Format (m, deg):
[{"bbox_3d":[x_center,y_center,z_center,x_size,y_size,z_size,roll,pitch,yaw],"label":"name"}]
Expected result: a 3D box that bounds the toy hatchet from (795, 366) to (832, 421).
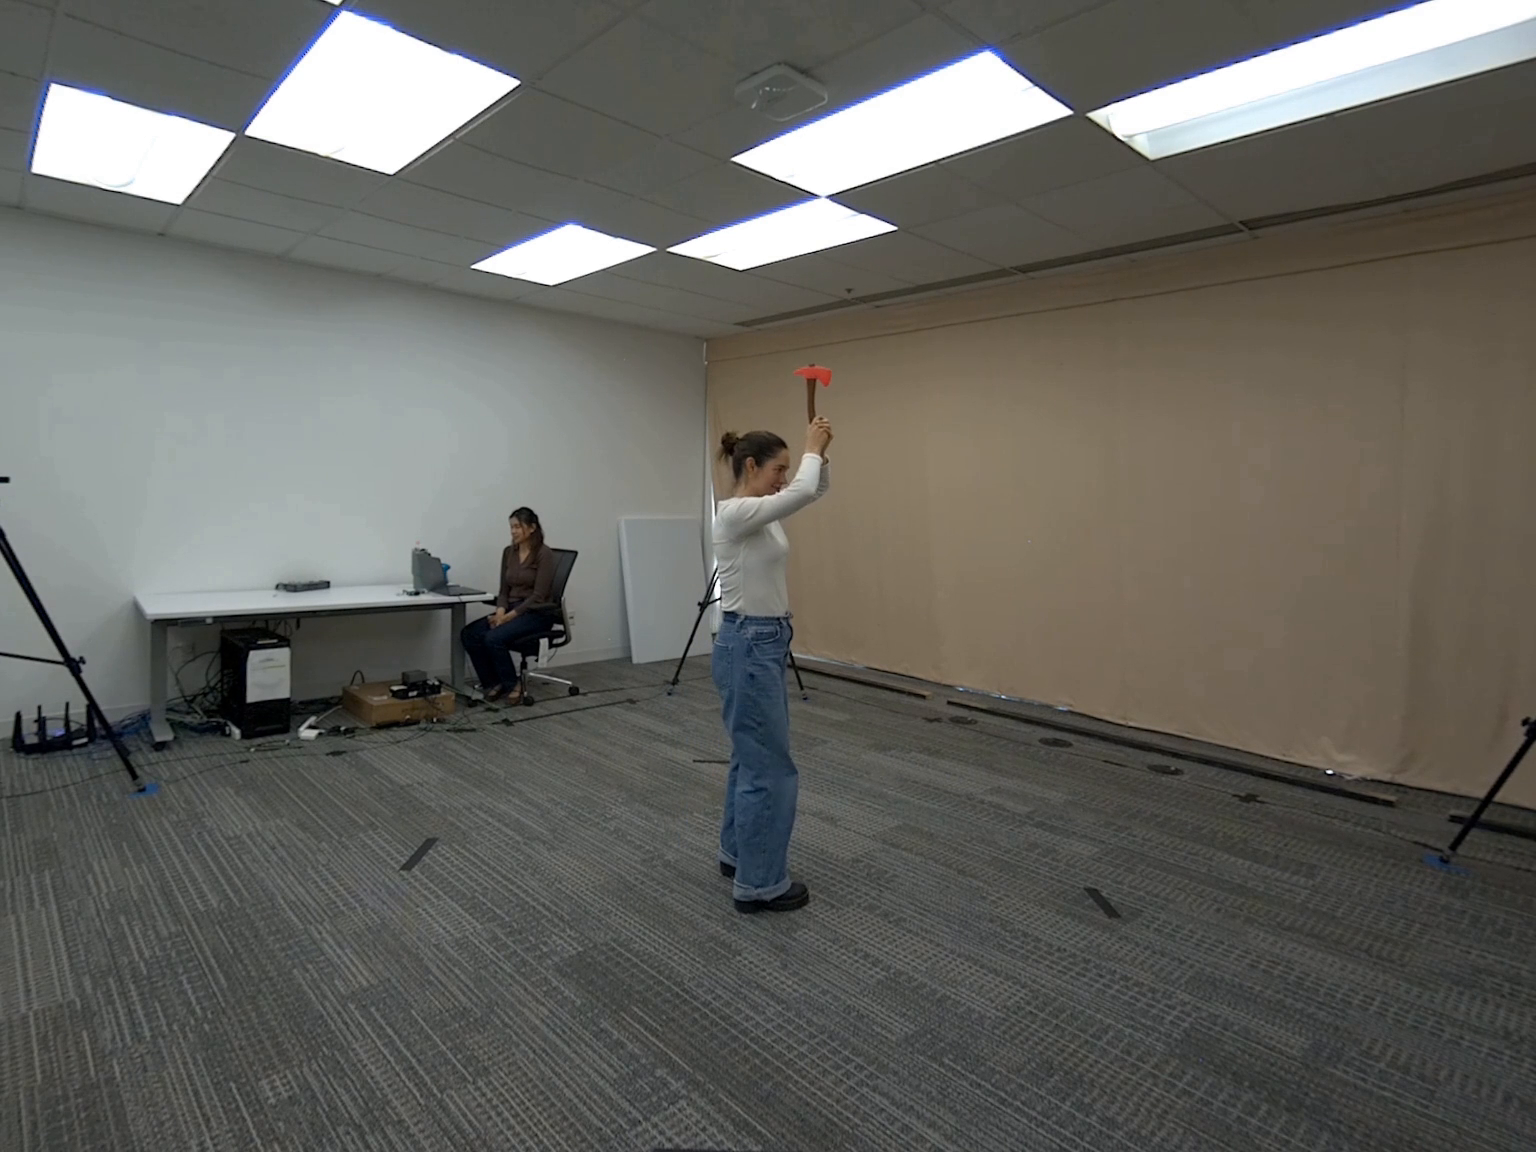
[{"bbox_3d":[0.171,-0.596,2.858,0.132,0.270,0.029,-16,-1,19],"label":"toy hatchet"}]
